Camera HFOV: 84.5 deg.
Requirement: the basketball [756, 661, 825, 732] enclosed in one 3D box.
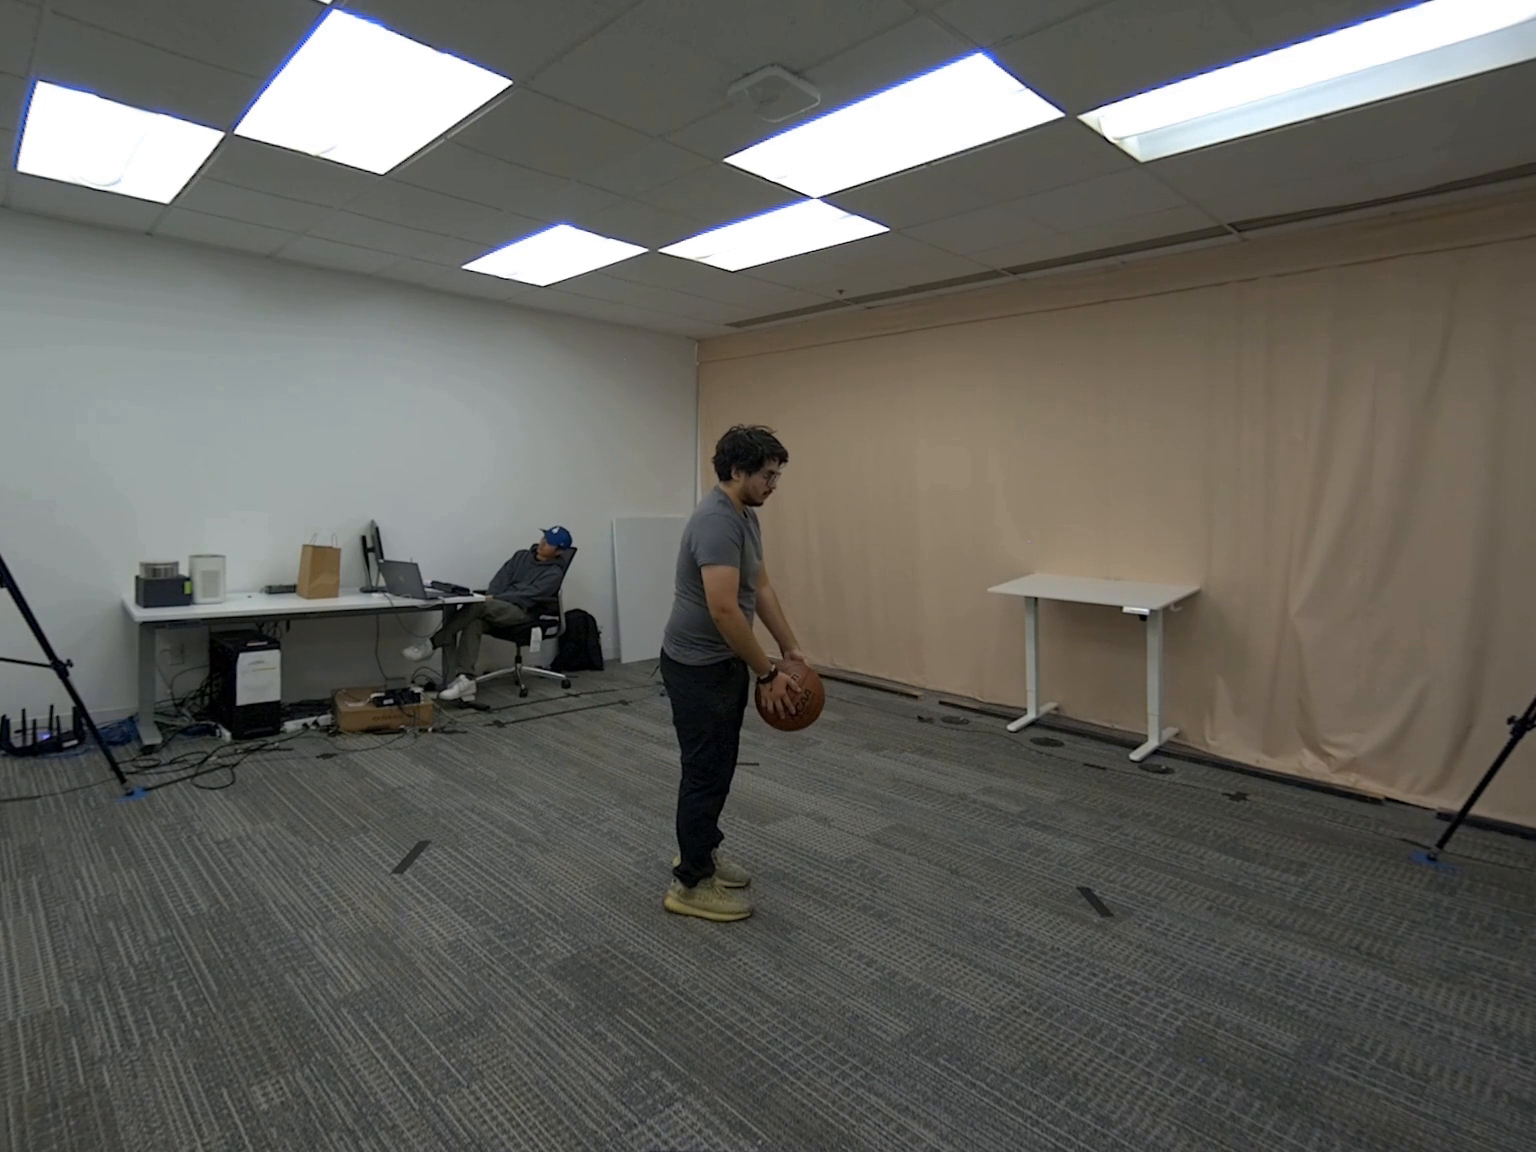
[{"bbox_3d":[0.068,0.398,2.850,0.236,0.235,0.237,1,4,-1],"label":"basketball"}]
